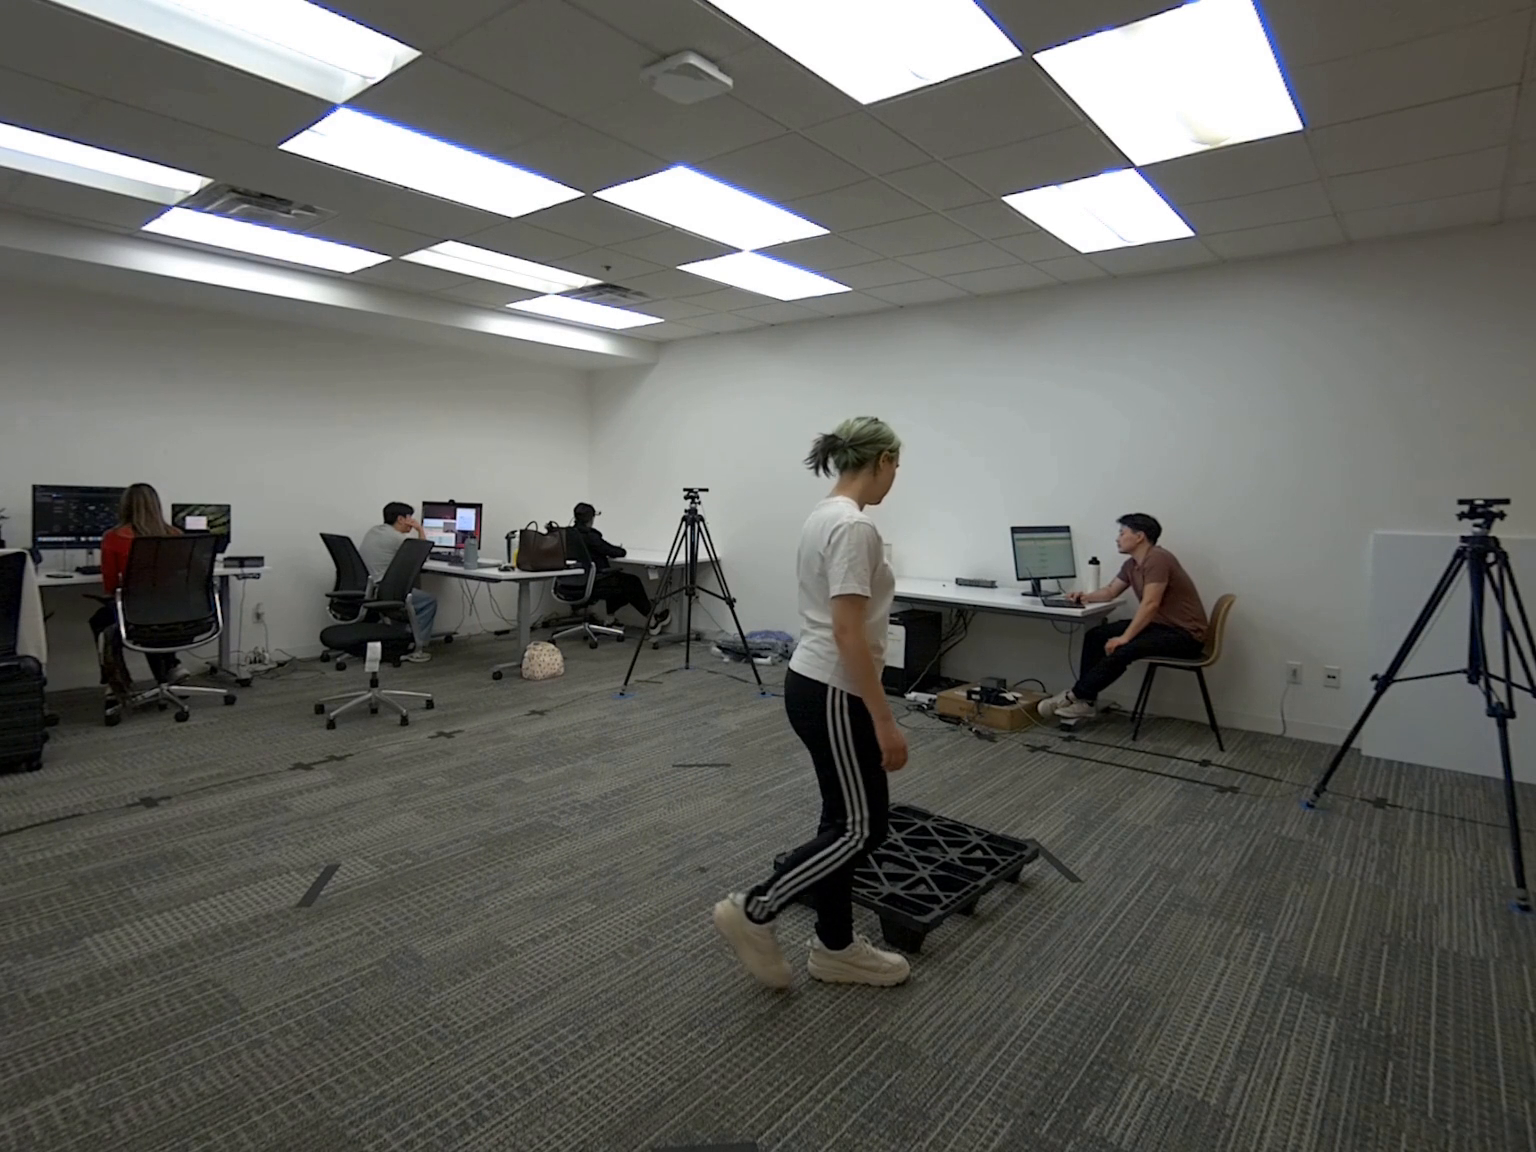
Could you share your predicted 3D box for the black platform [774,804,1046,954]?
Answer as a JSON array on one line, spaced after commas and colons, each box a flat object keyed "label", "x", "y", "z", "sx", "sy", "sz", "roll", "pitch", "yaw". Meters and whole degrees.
[{"label": "black platform", "x": 0.486, "y": 1.031, "z": 2.988, "sx": 0.626, "sy": 0.143, "sz": 0.781, "roll": 6, "pitch": 7, "yaw": 42}]
